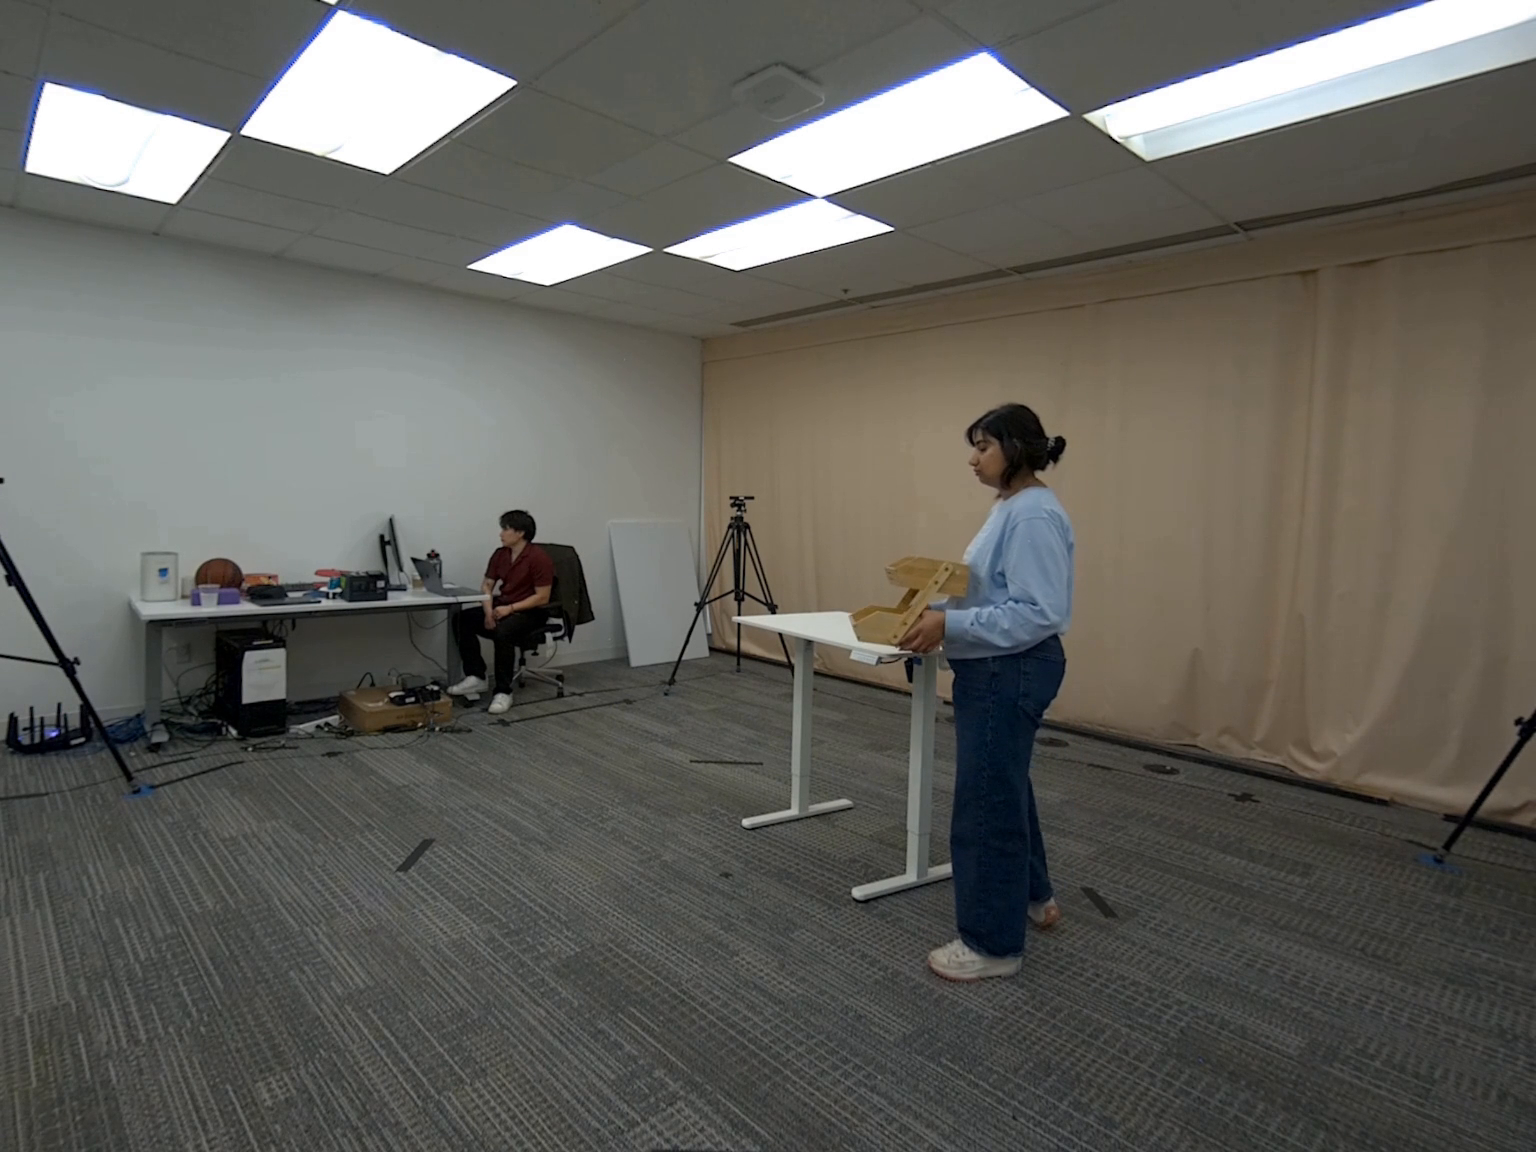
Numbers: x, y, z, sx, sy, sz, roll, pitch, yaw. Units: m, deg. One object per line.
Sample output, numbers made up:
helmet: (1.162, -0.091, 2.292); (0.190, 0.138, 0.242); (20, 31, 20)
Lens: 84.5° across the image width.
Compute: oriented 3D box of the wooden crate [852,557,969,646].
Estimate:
wooden crate: (0.432, 0.075, 2.530); (0.303, 0.273, 0.323); (9, 1, 4)
